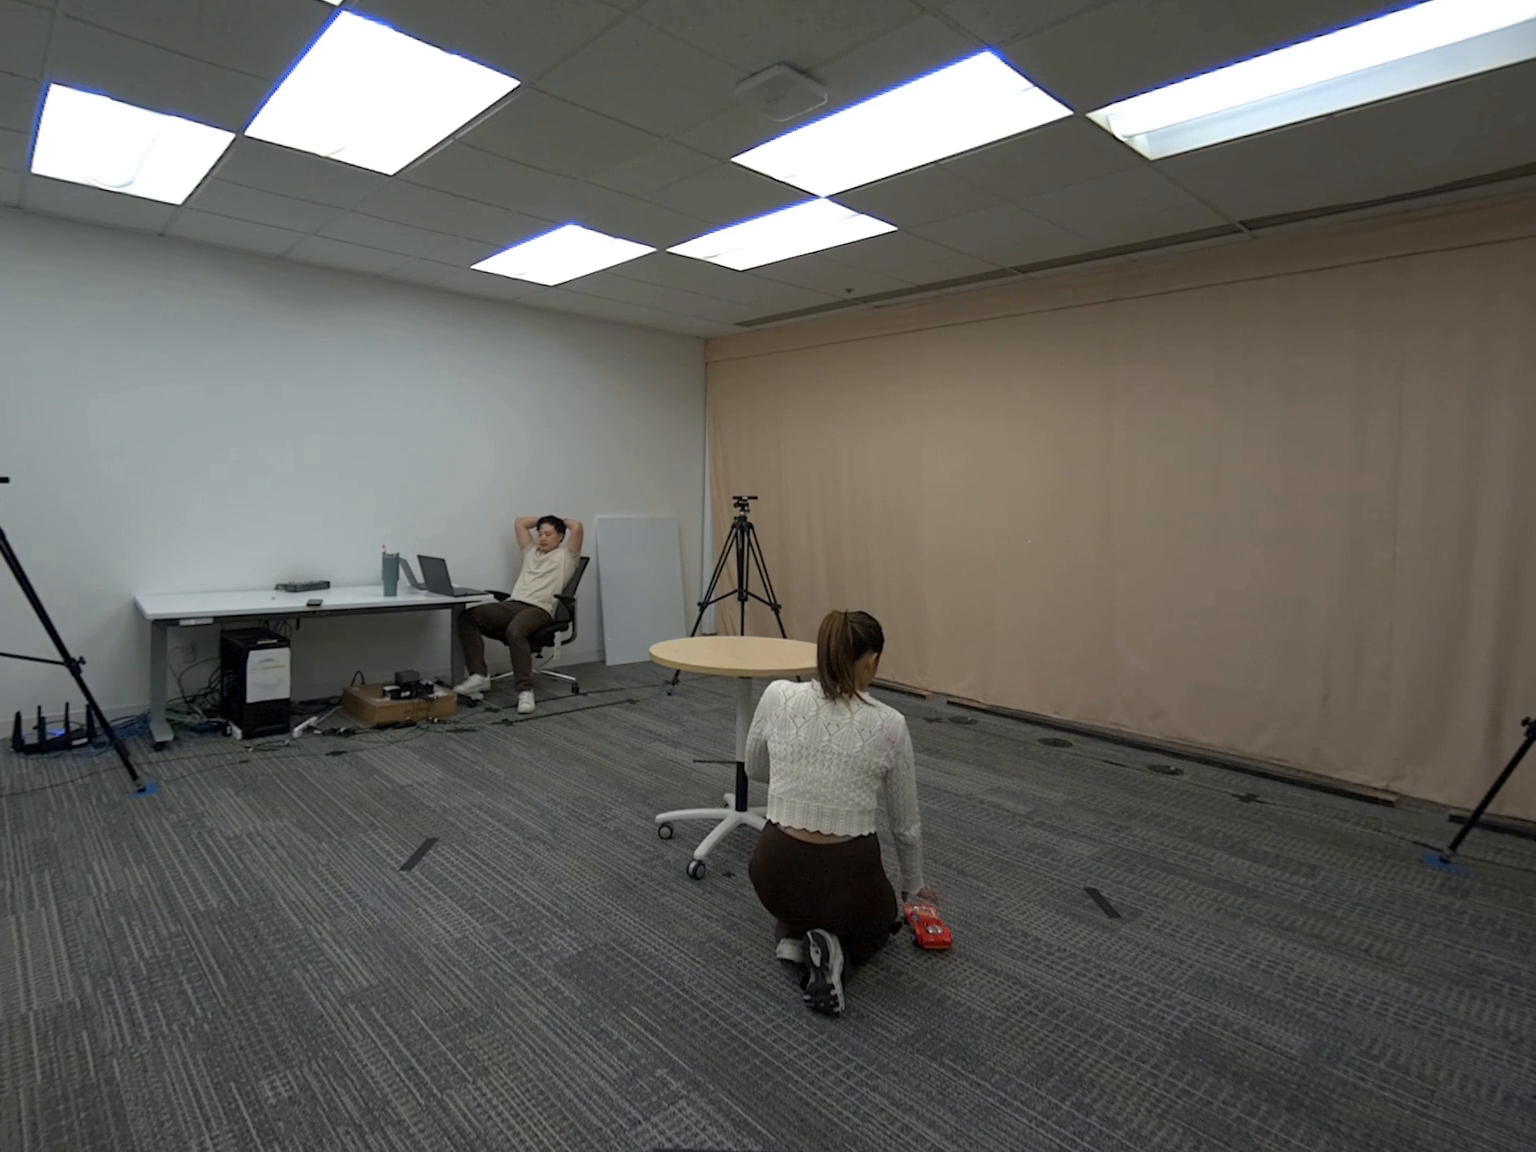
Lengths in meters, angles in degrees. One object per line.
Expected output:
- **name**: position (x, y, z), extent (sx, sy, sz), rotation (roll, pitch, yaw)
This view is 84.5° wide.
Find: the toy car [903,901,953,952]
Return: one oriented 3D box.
- **toy car**: position (0.506, 1.127, 2.689), extent (0.130, 0.083, 0.254), rotation (1, -4, -5)
